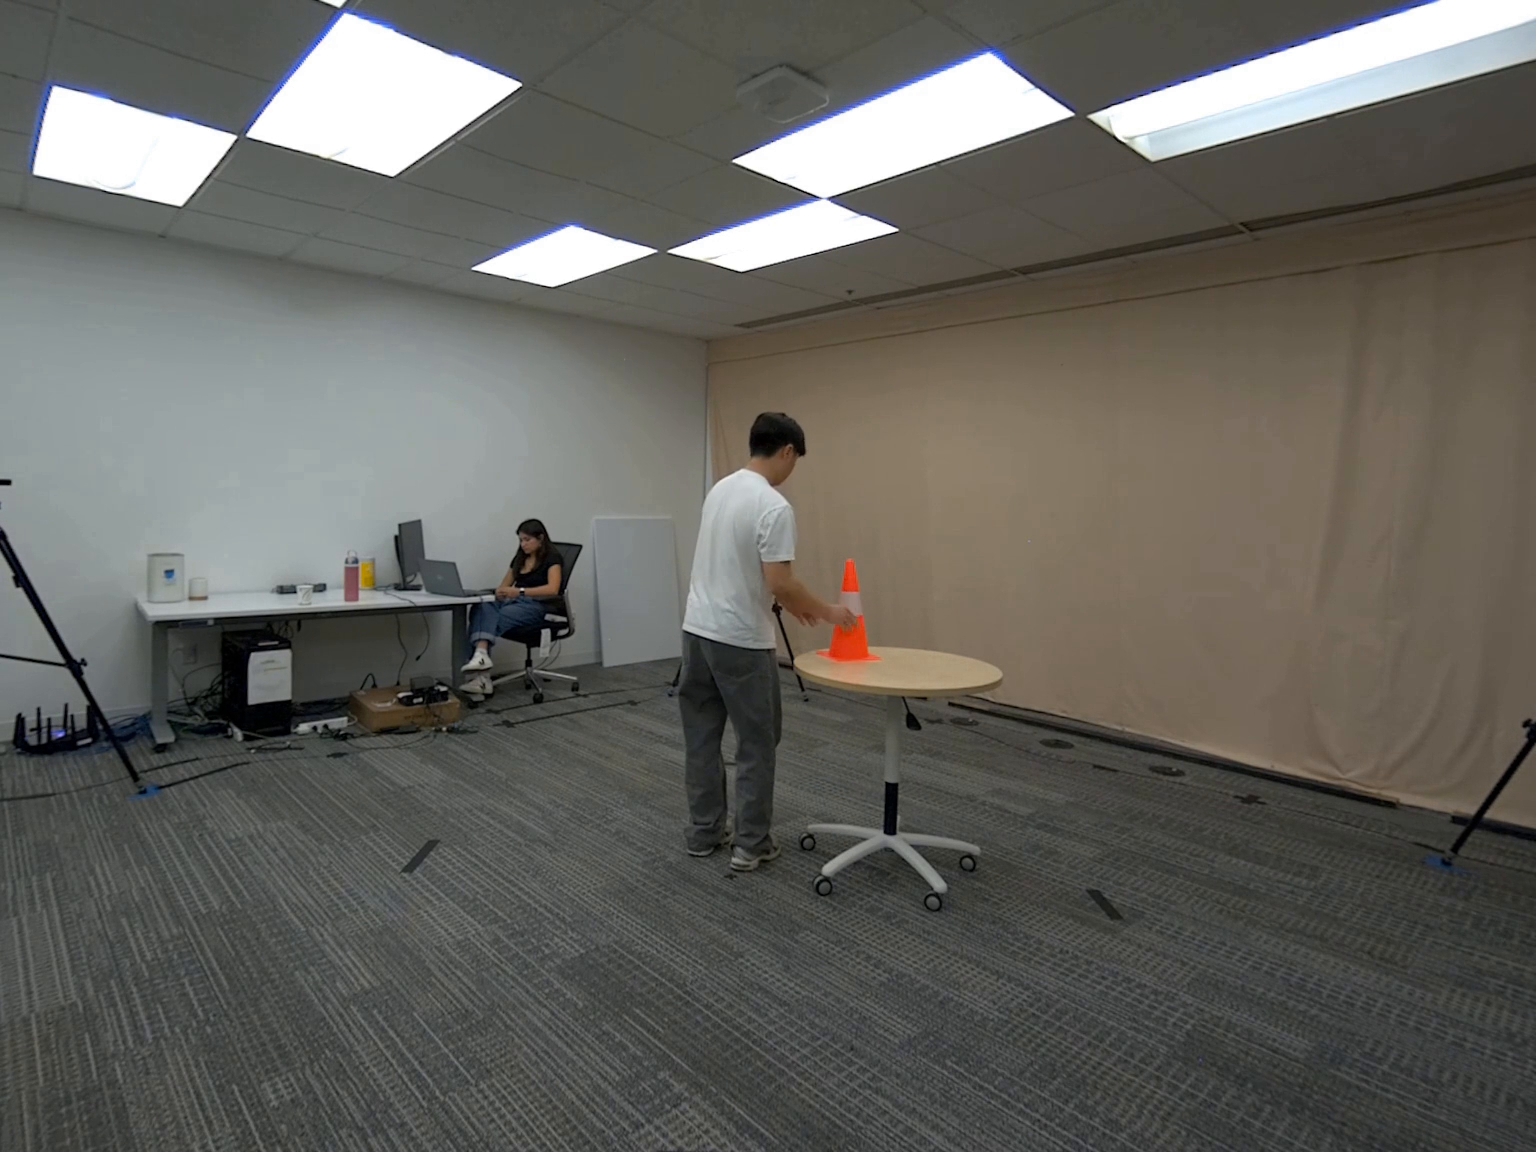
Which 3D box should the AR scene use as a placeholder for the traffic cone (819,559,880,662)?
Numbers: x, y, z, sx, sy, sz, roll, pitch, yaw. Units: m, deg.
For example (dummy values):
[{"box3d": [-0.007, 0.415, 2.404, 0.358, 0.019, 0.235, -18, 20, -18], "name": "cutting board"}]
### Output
[{"box3d": [0.300, 0.129, 3.300, 0.200, 0.382, 0.209, 0, 7, -22], "name": "traffic cone"}]
